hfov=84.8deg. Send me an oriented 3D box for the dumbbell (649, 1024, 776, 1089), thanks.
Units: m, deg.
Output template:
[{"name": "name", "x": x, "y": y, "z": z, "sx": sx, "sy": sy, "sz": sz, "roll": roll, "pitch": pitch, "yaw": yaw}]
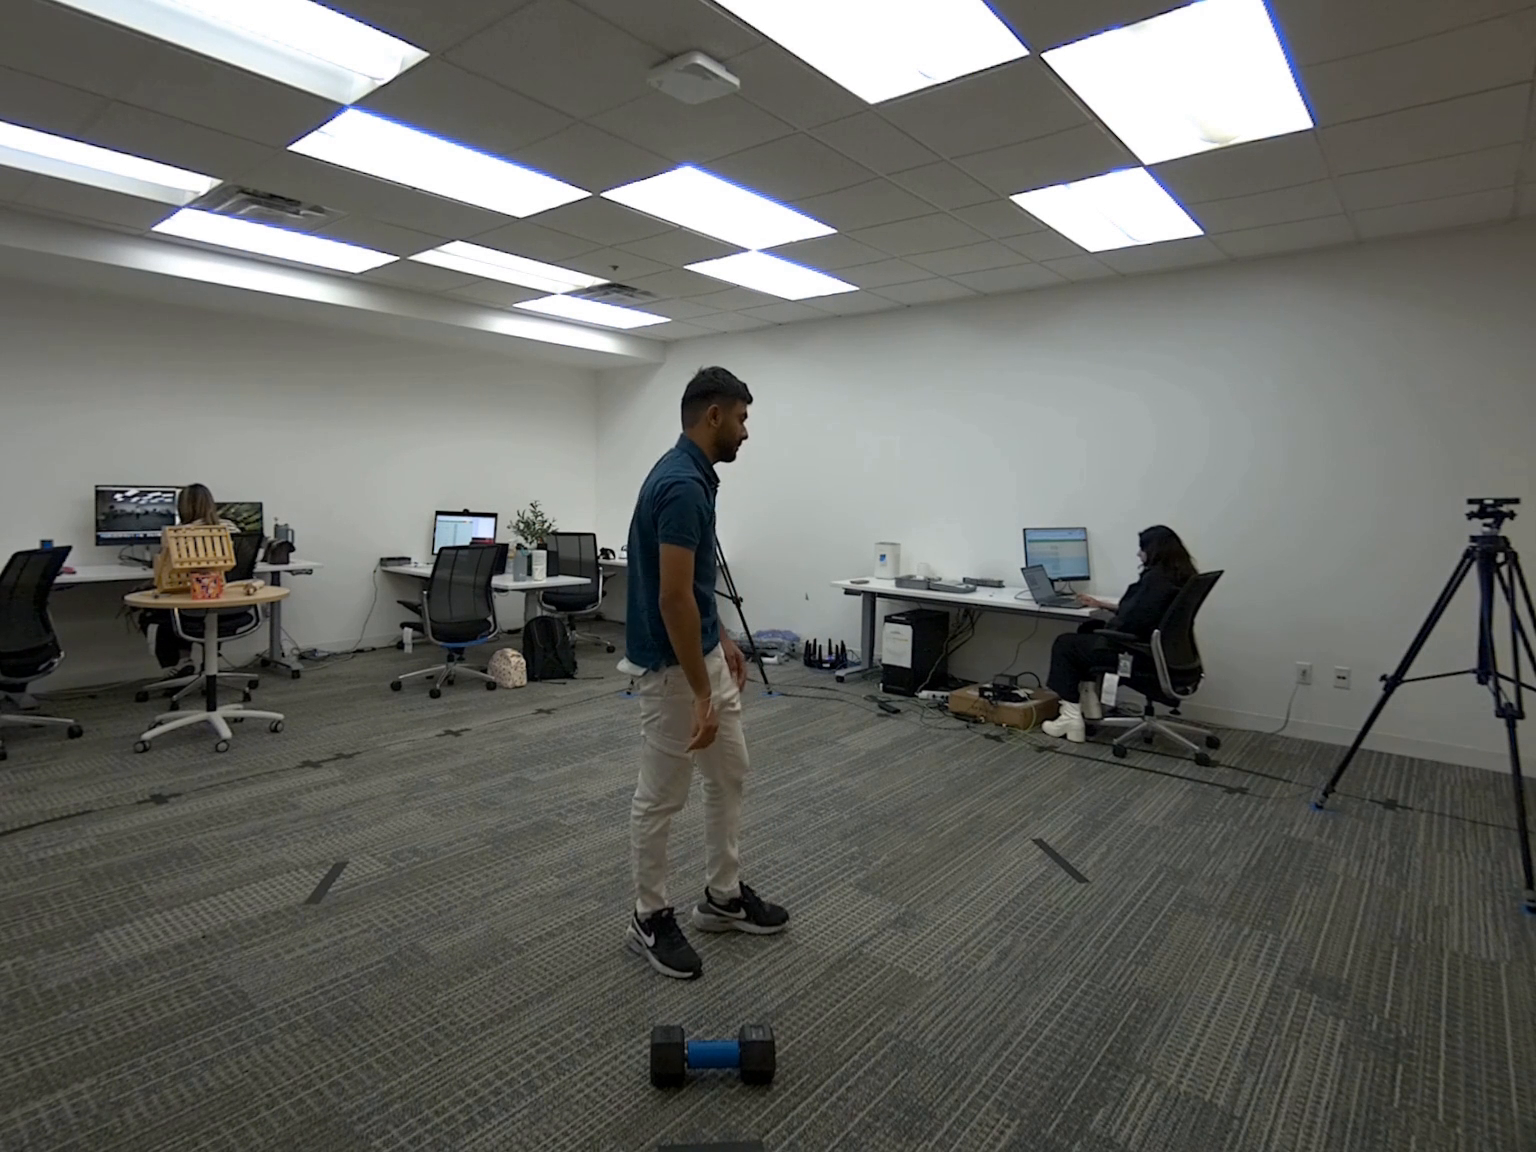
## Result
[{"name": "dumbbell", "x": -0.137, "y": 1.126, "z": 2.013, "sx": 0.292, "sy": 0.108, "sz": 0.124, "roll": 1, "pitch": 2, "yaw": -5}]
